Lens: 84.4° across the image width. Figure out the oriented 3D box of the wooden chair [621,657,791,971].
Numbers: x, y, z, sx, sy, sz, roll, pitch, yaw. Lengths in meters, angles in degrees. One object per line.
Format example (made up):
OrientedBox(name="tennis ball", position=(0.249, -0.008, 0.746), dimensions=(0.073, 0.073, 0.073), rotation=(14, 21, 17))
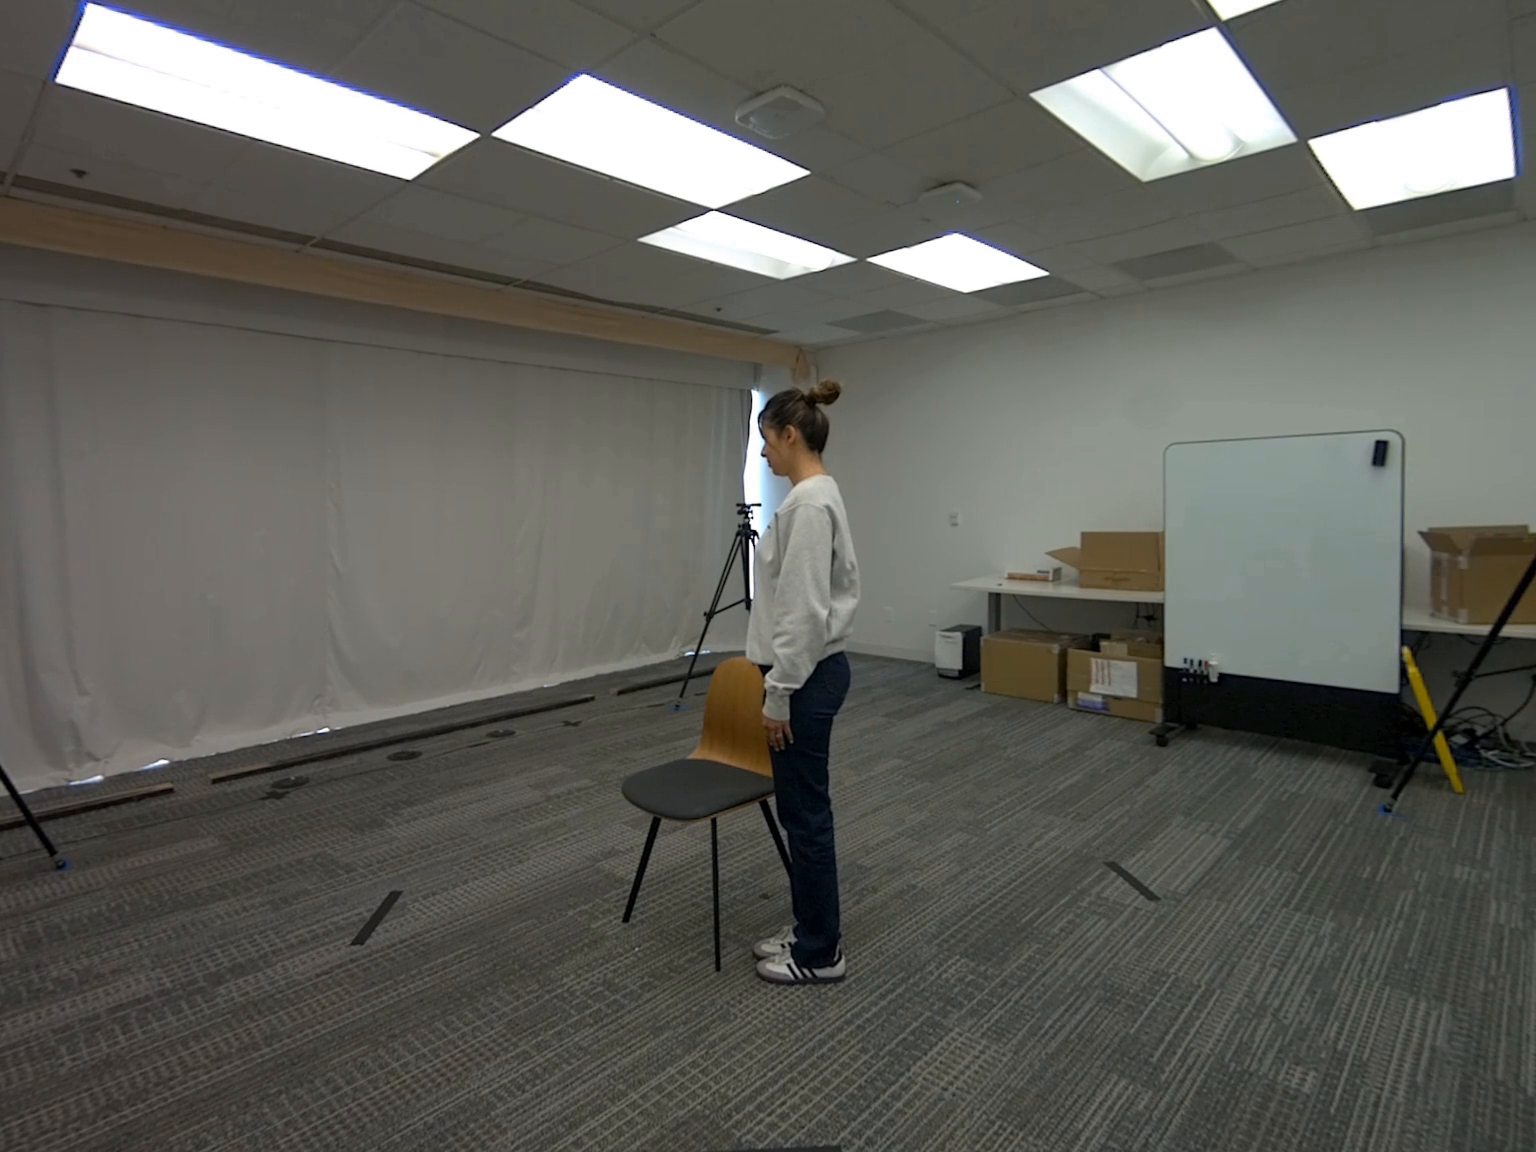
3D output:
OrientedBox(name="wooden chair", position=(-0.181, 0.730, 2.795), dimensions=(0.494, 0.877, 0.506), rotation=(3, 1, 43))
